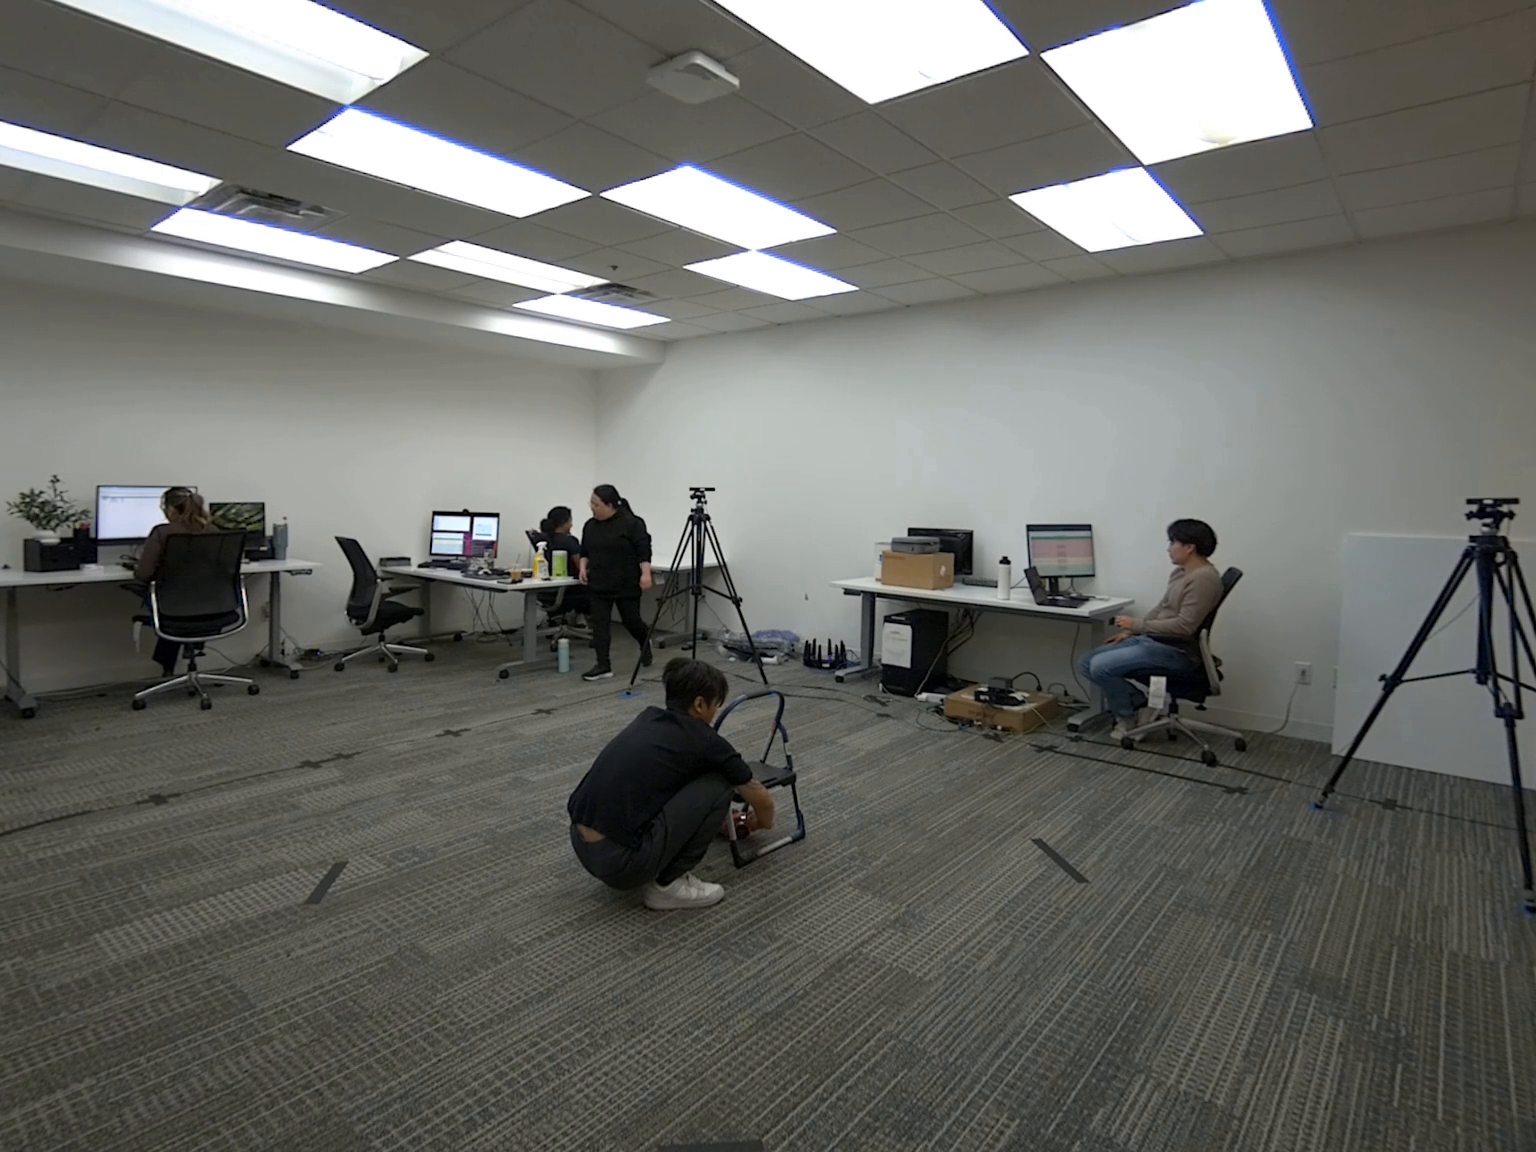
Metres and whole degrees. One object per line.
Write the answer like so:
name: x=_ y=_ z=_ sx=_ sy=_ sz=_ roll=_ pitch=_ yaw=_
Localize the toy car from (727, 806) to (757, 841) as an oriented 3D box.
toy car: x=-0.138 y=1.002 z=3.405 sx=0.258 sy=0.084 sz=0.127 roll=-18 pitch=-5 yaw=24
